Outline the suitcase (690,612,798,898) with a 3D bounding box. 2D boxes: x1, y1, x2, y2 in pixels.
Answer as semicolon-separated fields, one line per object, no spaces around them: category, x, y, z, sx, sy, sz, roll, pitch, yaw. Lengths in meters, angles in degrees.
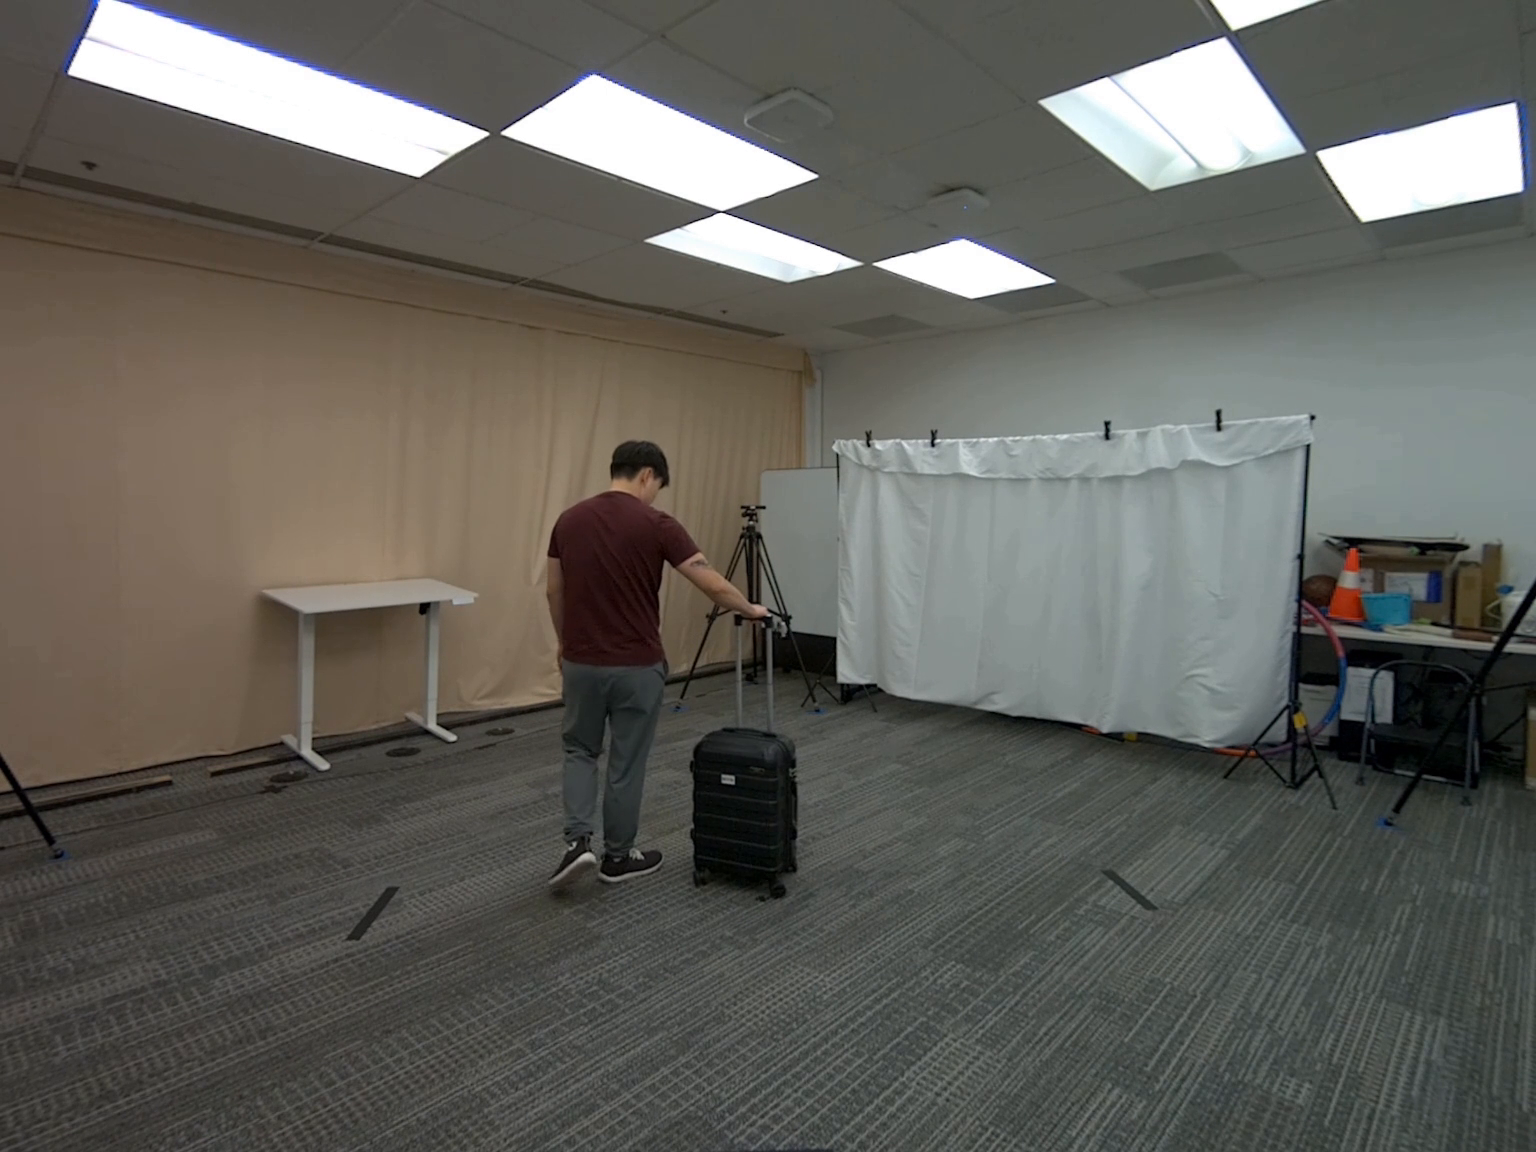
suitcase;-0.080;0.656;3.117;0.393;0.975;0.252;3;6;22
